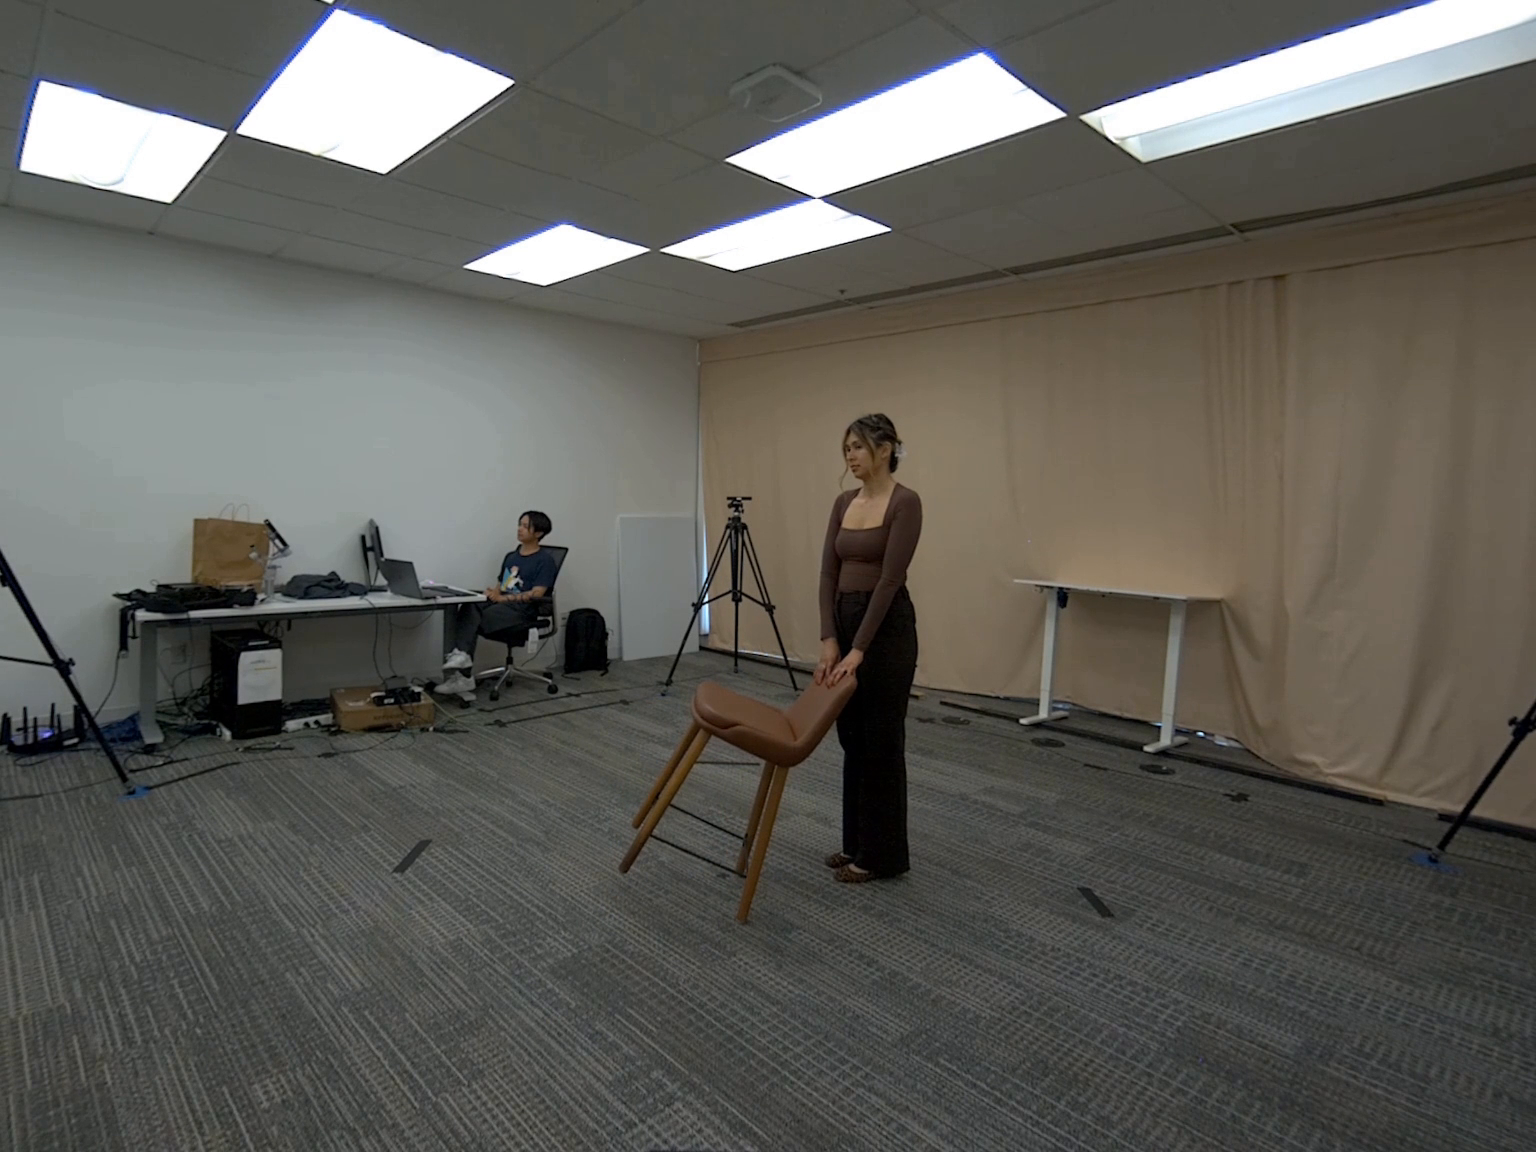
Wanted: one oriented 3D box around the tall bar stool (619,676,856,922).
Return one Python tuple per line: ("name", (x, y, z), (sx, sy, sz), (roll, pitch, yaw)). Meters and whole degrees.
("tall bar stool", (-0.105, 0.643, 2.903), (0.467, 0.889, 0.458), (26, 3, -2))
